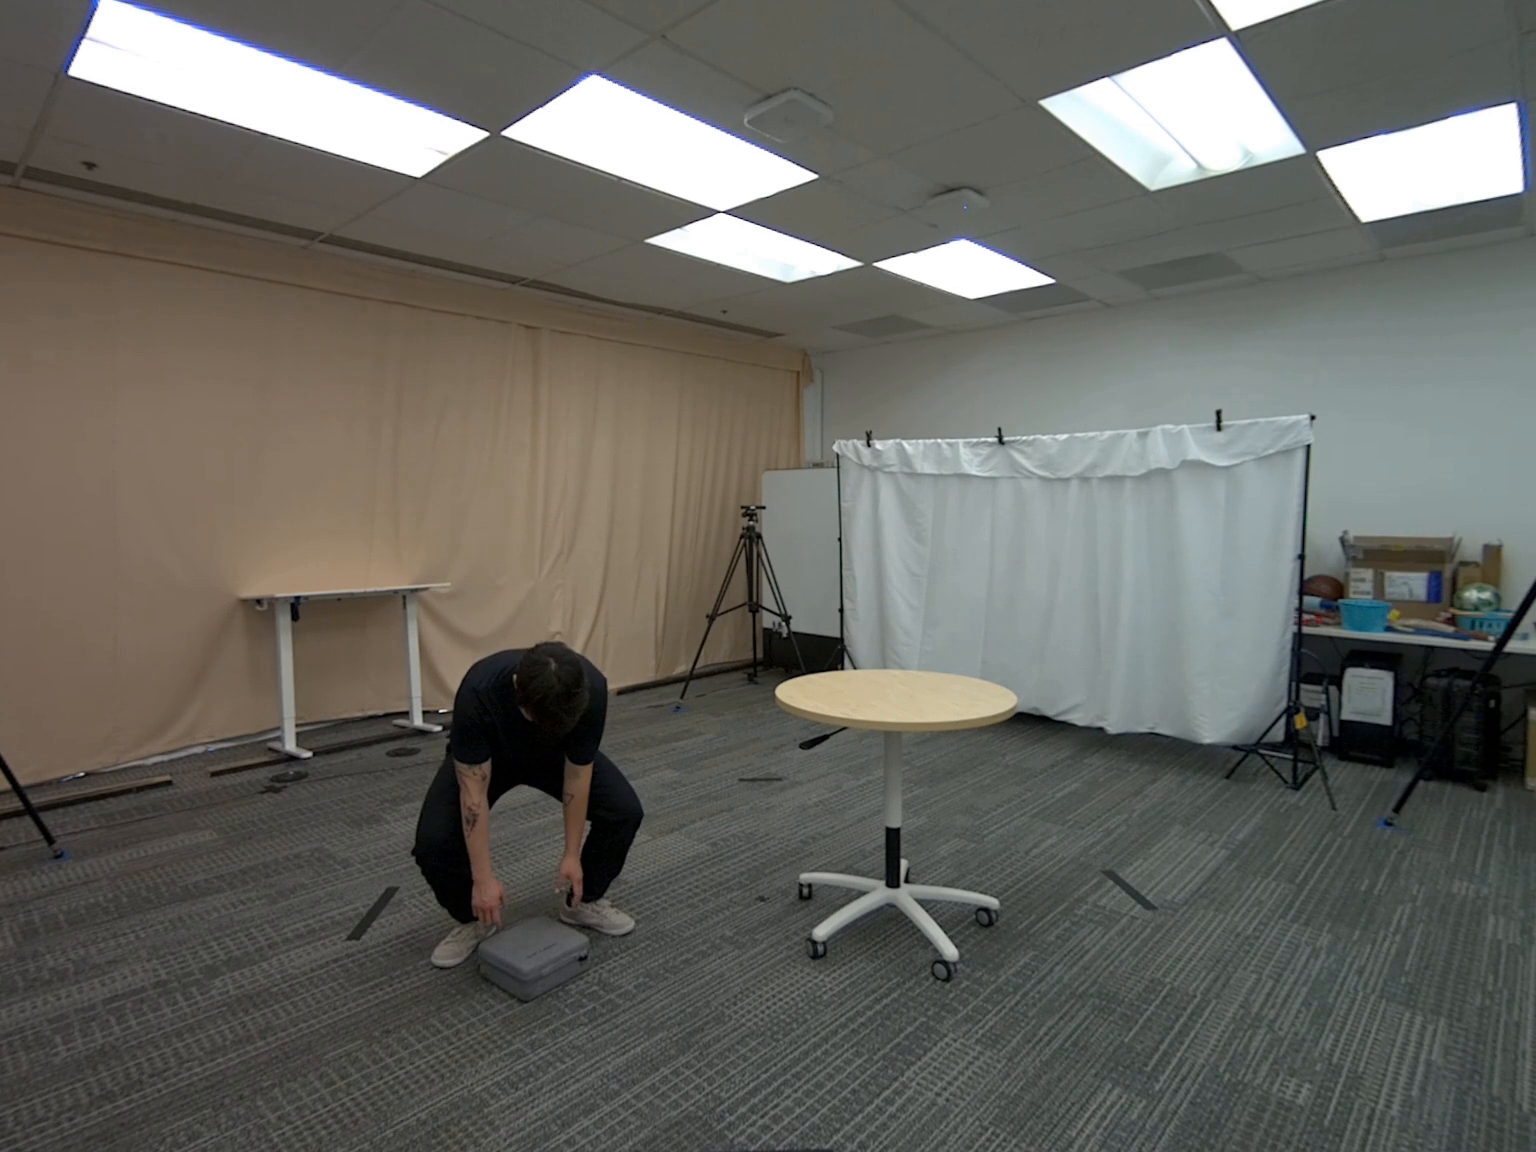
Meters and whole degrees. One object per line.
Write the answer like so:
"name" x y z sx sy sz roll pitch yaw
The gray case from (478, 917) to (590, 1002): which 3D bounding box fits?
"gray case" -0.701 1.129 2.514 0.269 0.104 0.249 2 6 38
